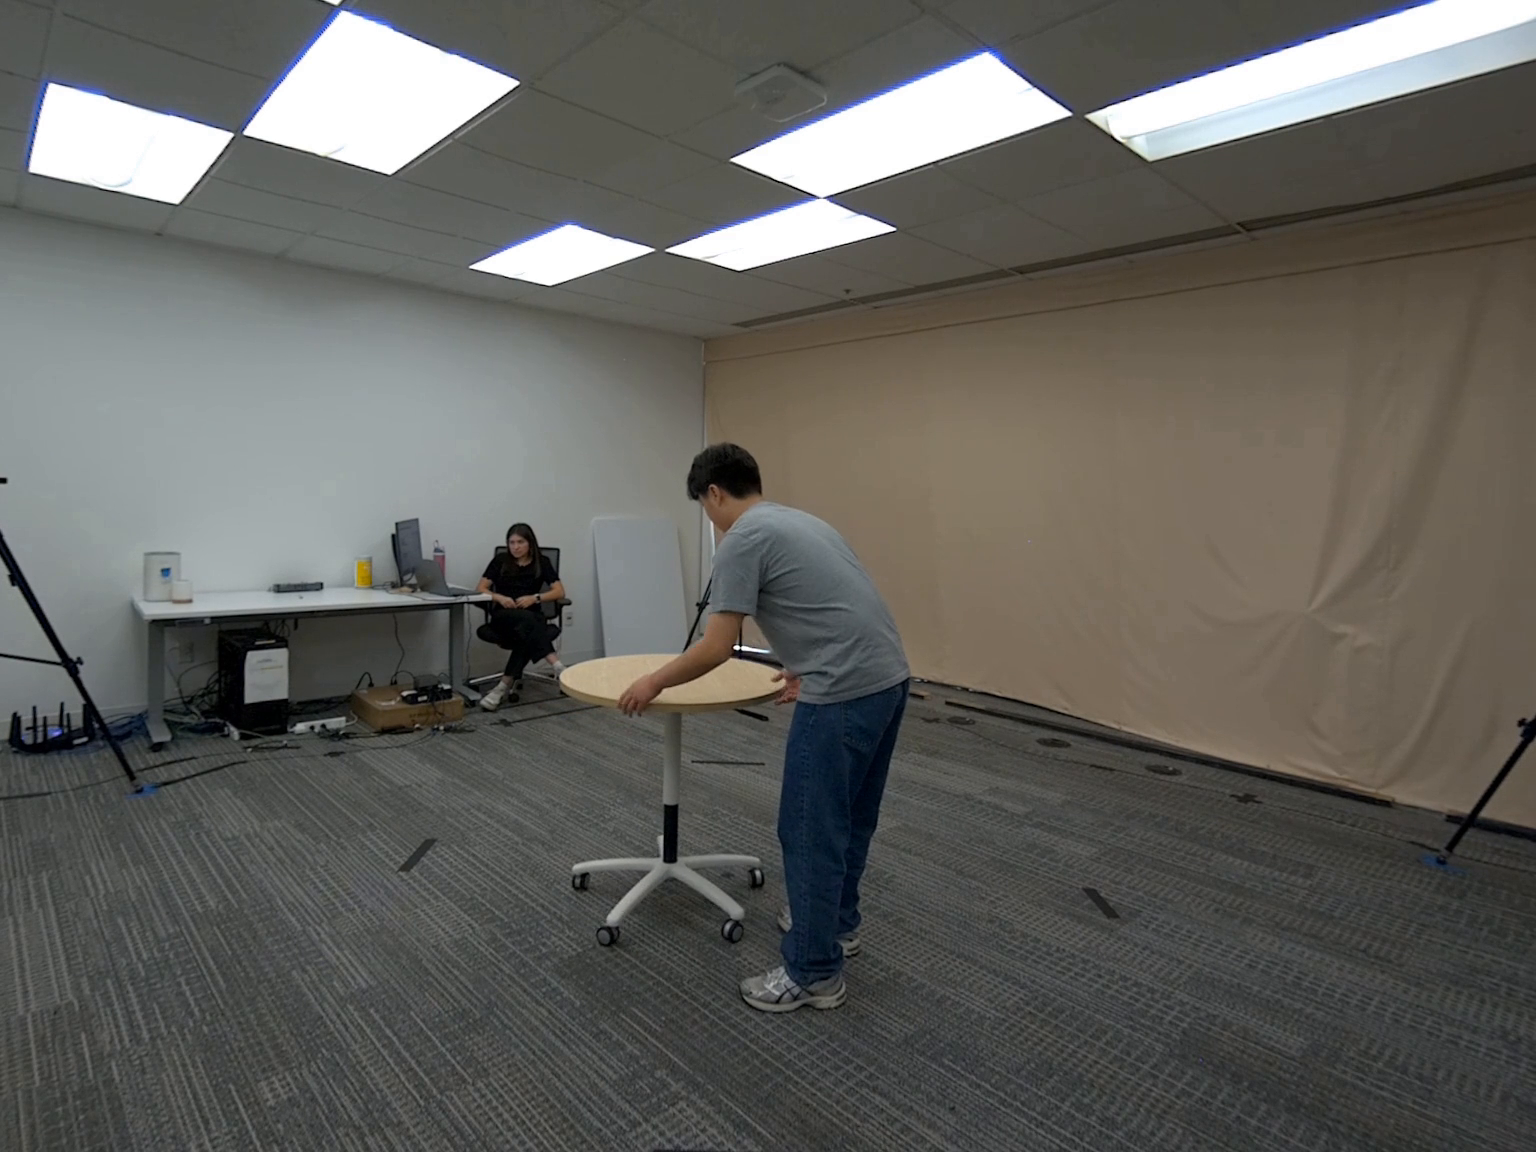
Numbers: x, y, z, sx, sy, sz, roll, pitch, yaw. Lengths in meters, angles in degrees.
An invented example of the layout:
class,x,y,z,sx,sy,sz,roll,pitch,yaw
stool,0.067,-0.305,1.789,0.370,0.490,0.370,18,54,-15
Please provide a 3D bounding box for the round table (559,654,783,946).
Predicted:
class,x,y,z,sx,sy,sz,roll,pitch,yaw
round table,-0.336,0.733,2.875,0.763,0.792,0.767,2,4,-1
